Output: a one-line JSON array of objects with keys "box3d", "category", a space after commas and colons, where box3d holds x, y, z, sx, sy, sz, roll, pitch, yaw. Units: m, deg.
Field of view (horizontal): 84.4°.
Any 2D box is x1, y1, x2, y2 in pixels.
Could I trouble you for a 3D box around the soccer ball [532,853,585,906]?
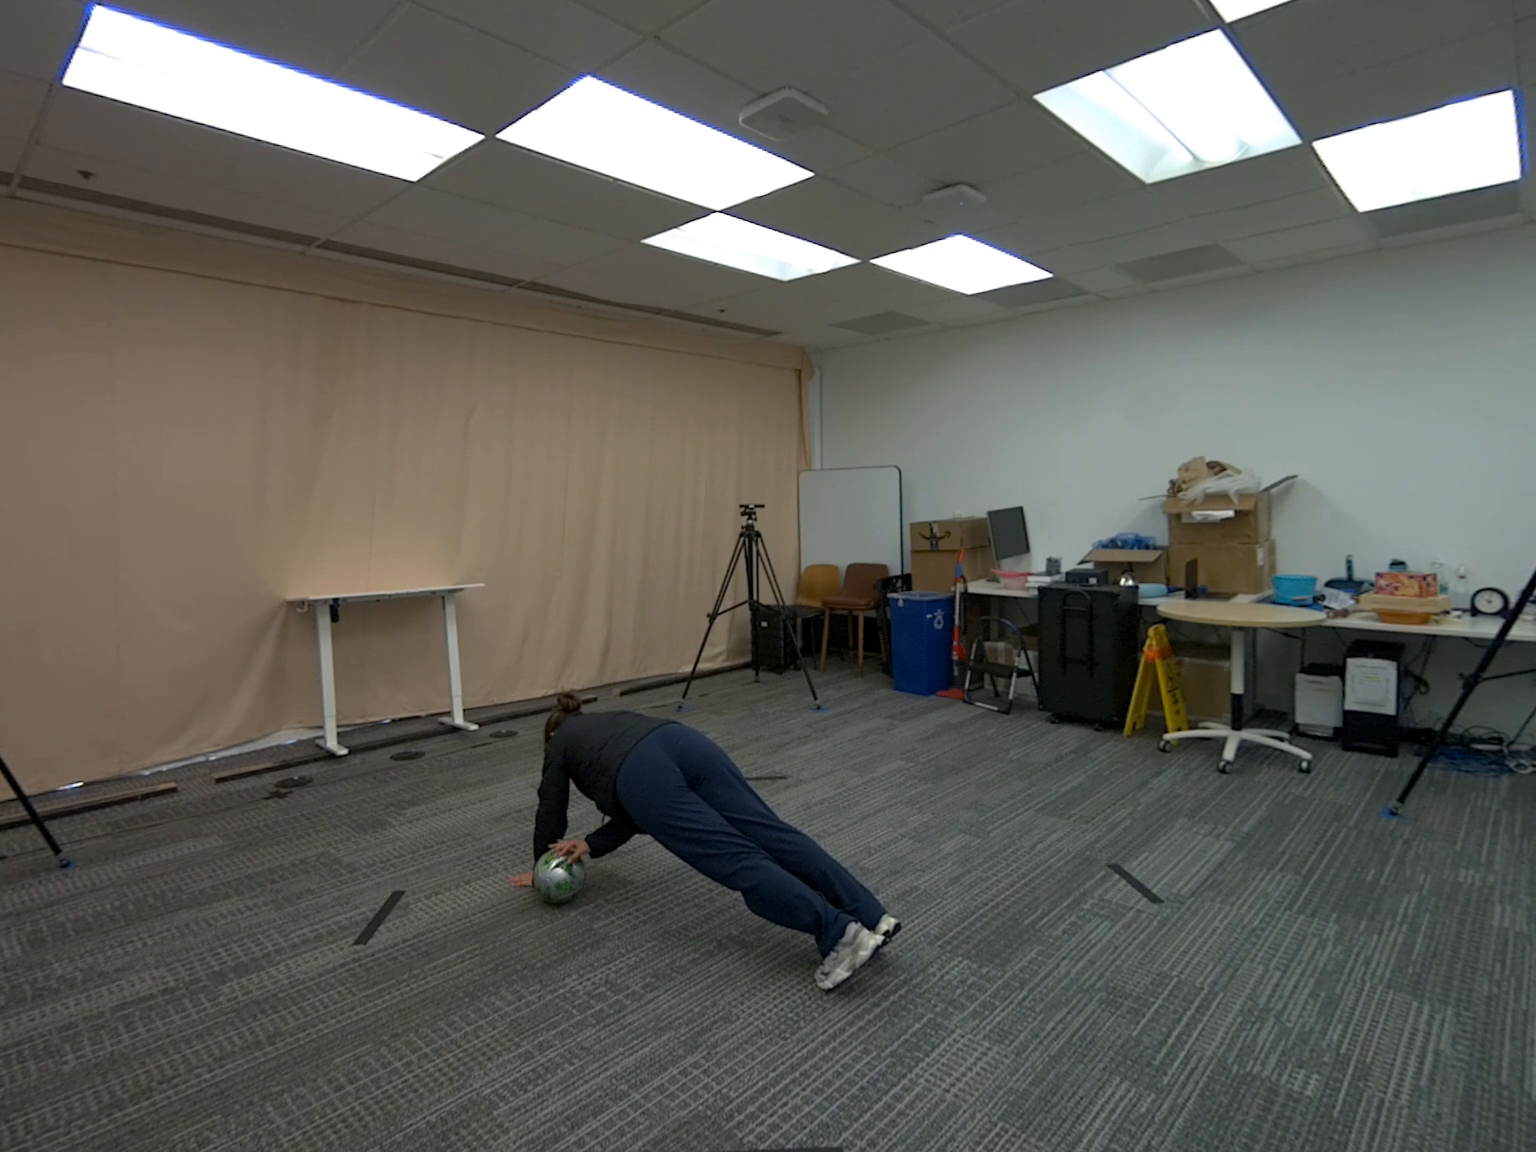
[{"box3d": [-0.735, 1.065, 2.984, 0.187, 0.187, 0.188, -1, 4, -2], "category": "soccer ball"}]
